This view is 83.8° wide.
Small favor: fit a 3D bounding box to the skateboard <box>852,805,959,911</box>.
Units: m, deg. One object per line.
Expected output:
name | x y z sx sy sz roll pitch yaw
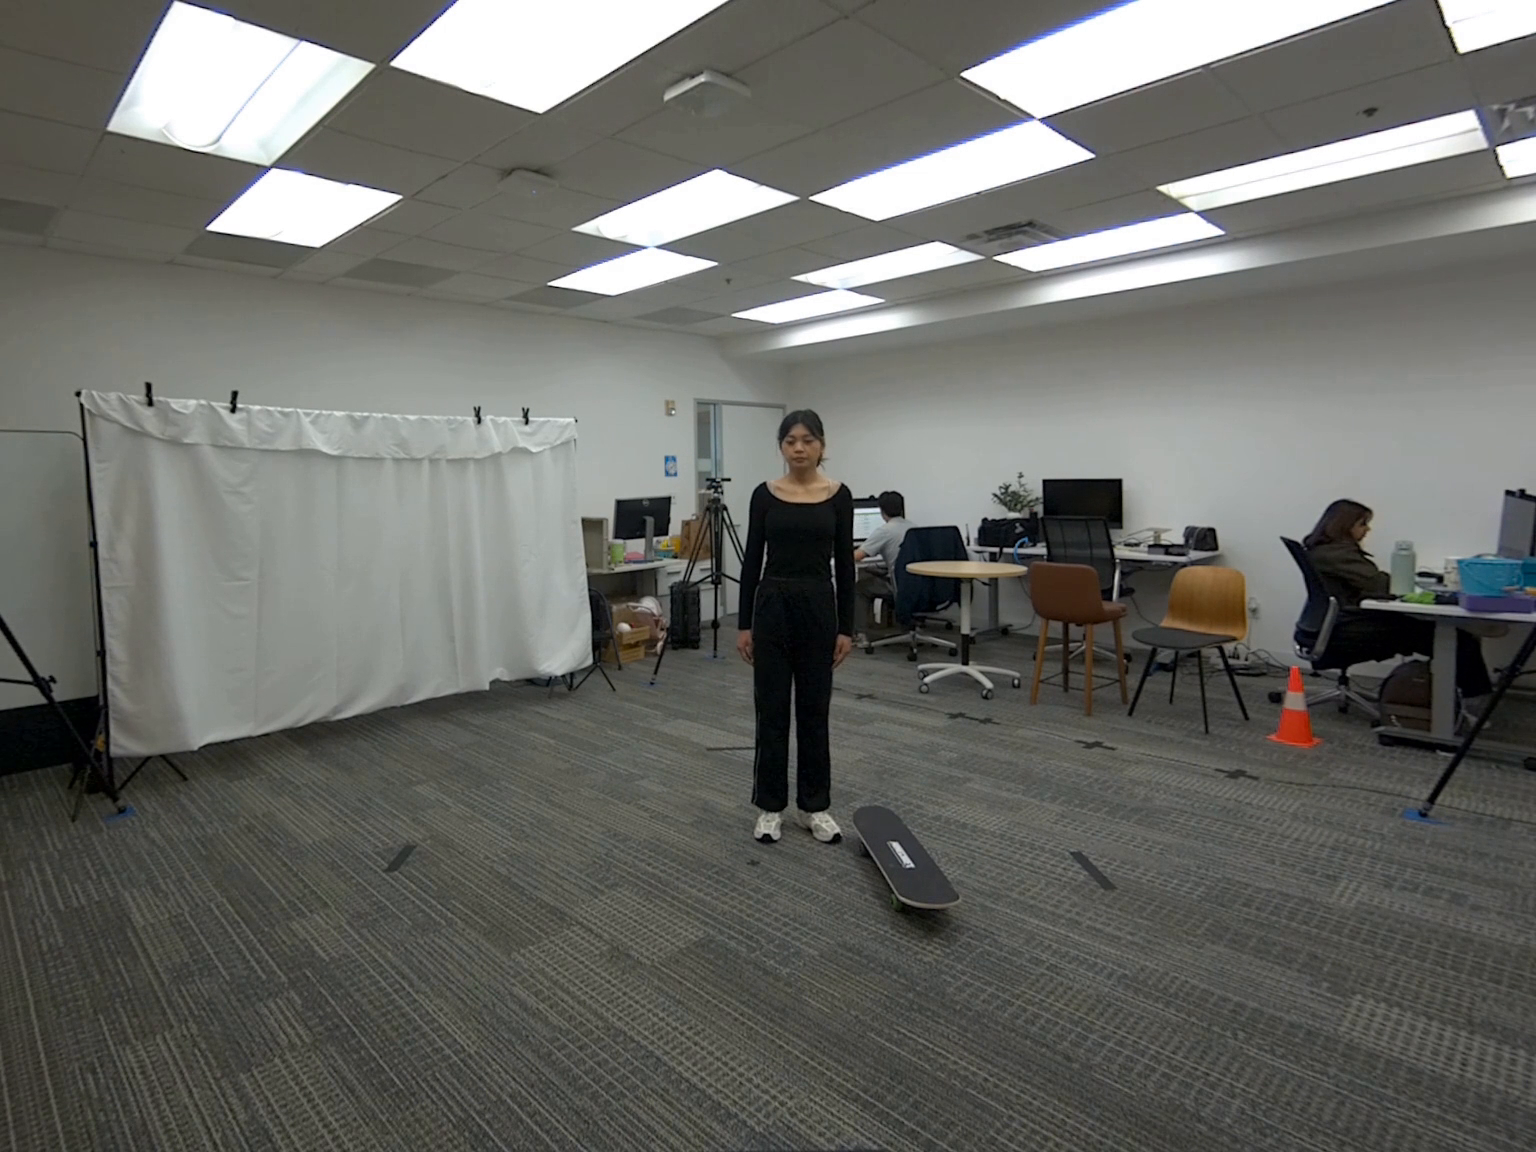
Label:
skateboard | 0.466 0.997 2.955 0.192 0.110 0.793 -2 6 -7
